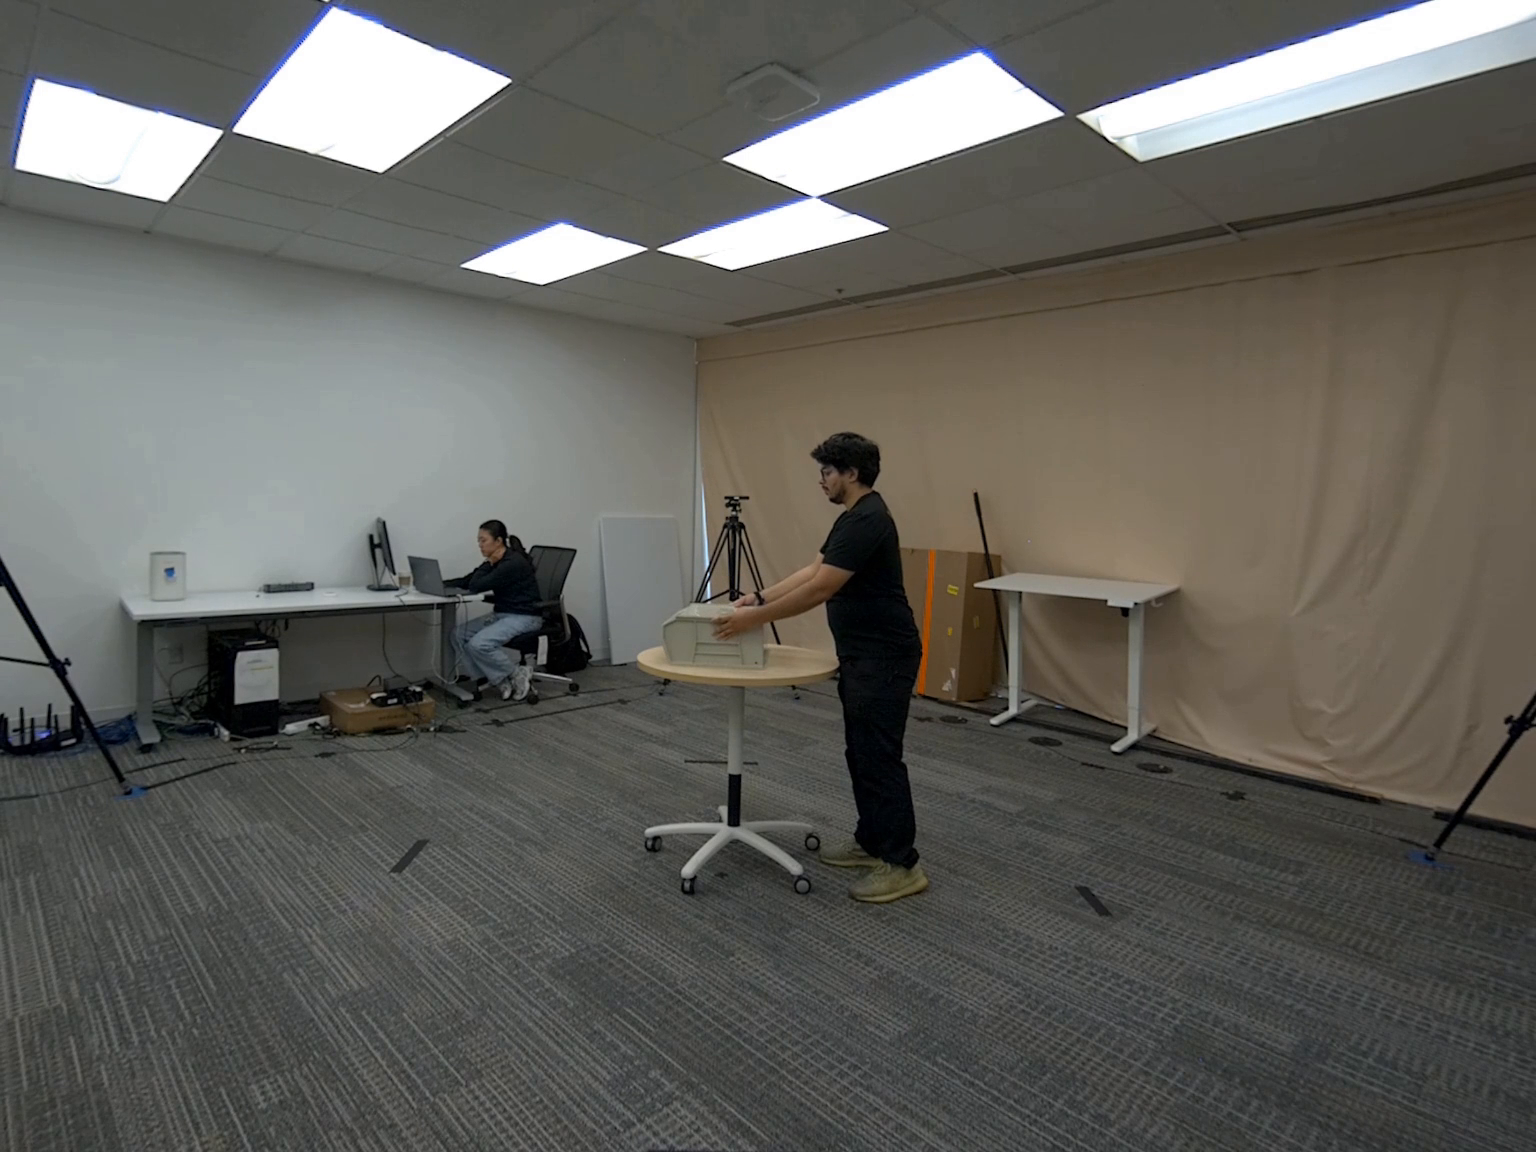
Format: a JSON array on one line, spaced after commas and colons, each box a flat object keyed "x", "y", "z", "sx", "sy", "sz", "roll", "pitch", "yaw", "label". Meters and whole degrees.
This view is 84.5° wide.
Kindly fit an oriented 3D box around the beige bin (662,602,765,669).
[{"x": -0.197, "y": 0.221, "z": 3.202, "sx": 0.378, "sy": 0.188, "sz": 0.422, "roll": 1, "pitch": 5, "yaw": 3, "label": "beige bin"}]
